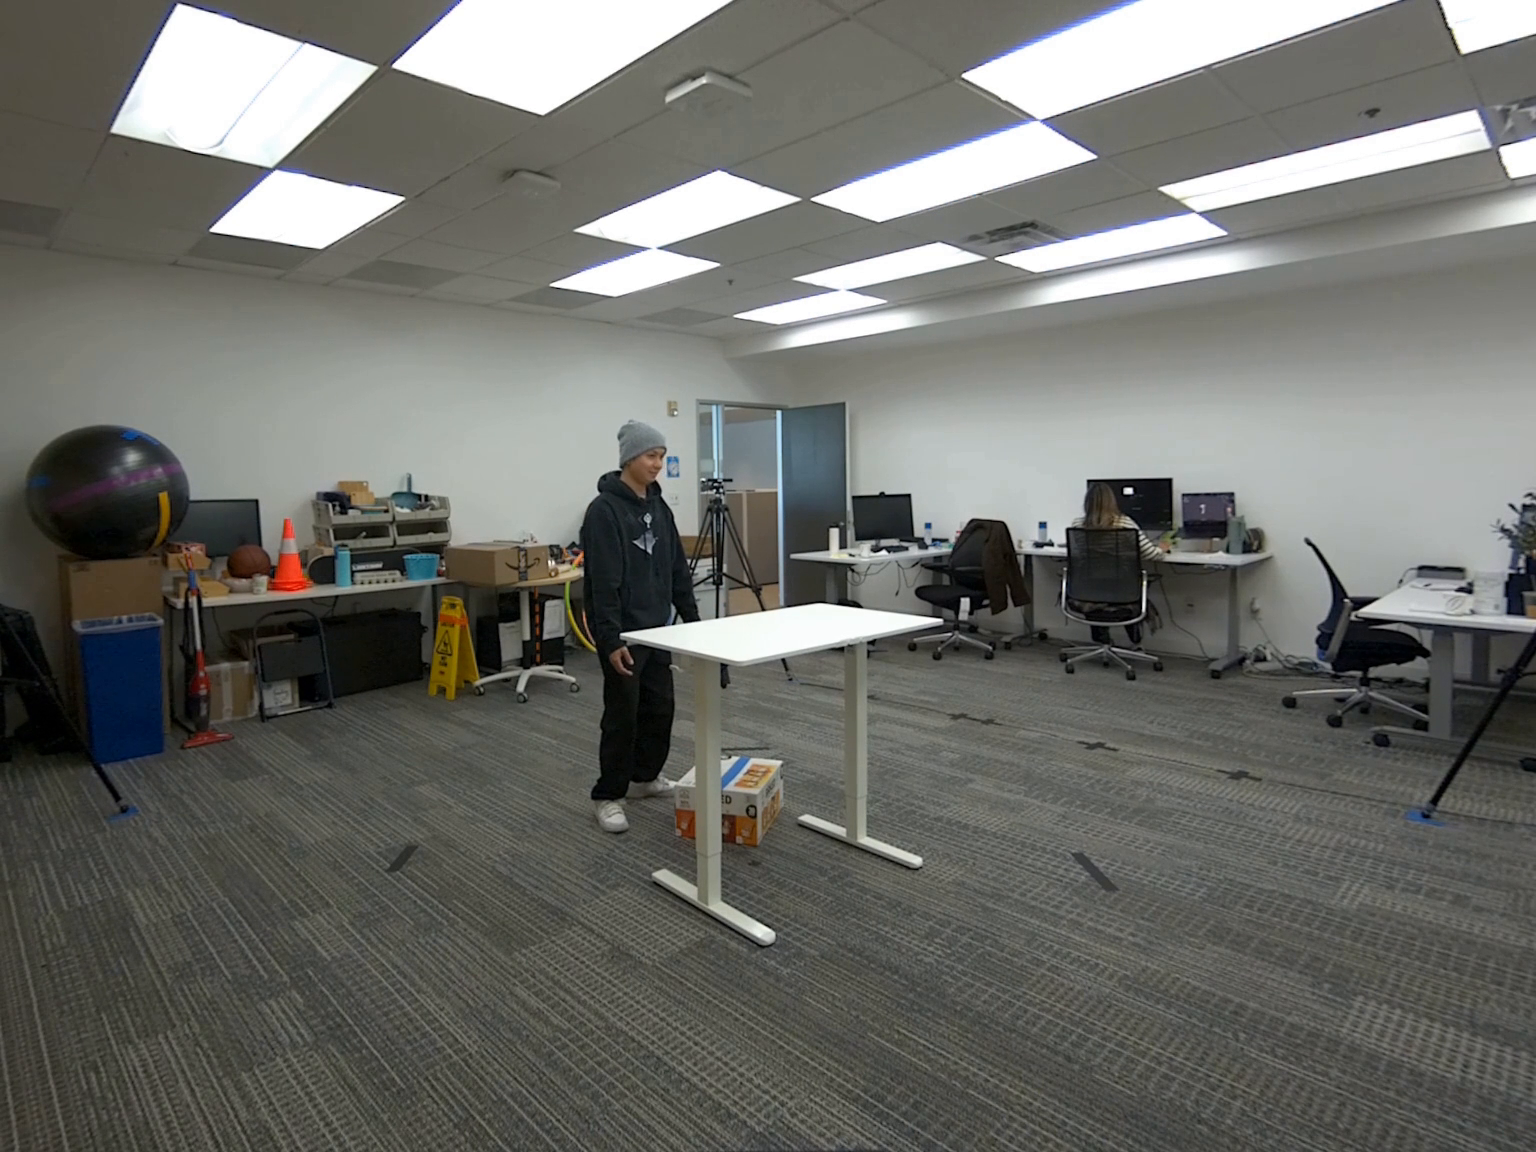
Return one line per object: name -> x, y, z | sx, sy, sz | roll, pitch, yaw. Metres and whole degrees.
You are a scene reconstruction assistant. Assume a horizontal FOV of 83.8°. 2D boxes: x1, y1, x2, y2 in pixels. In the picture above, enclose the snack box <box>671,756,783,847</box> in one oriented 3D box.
snack box -> -0.149, 0.903, 3.487 | 0.346, 0.205, 0.400 | 2, 6, 17
